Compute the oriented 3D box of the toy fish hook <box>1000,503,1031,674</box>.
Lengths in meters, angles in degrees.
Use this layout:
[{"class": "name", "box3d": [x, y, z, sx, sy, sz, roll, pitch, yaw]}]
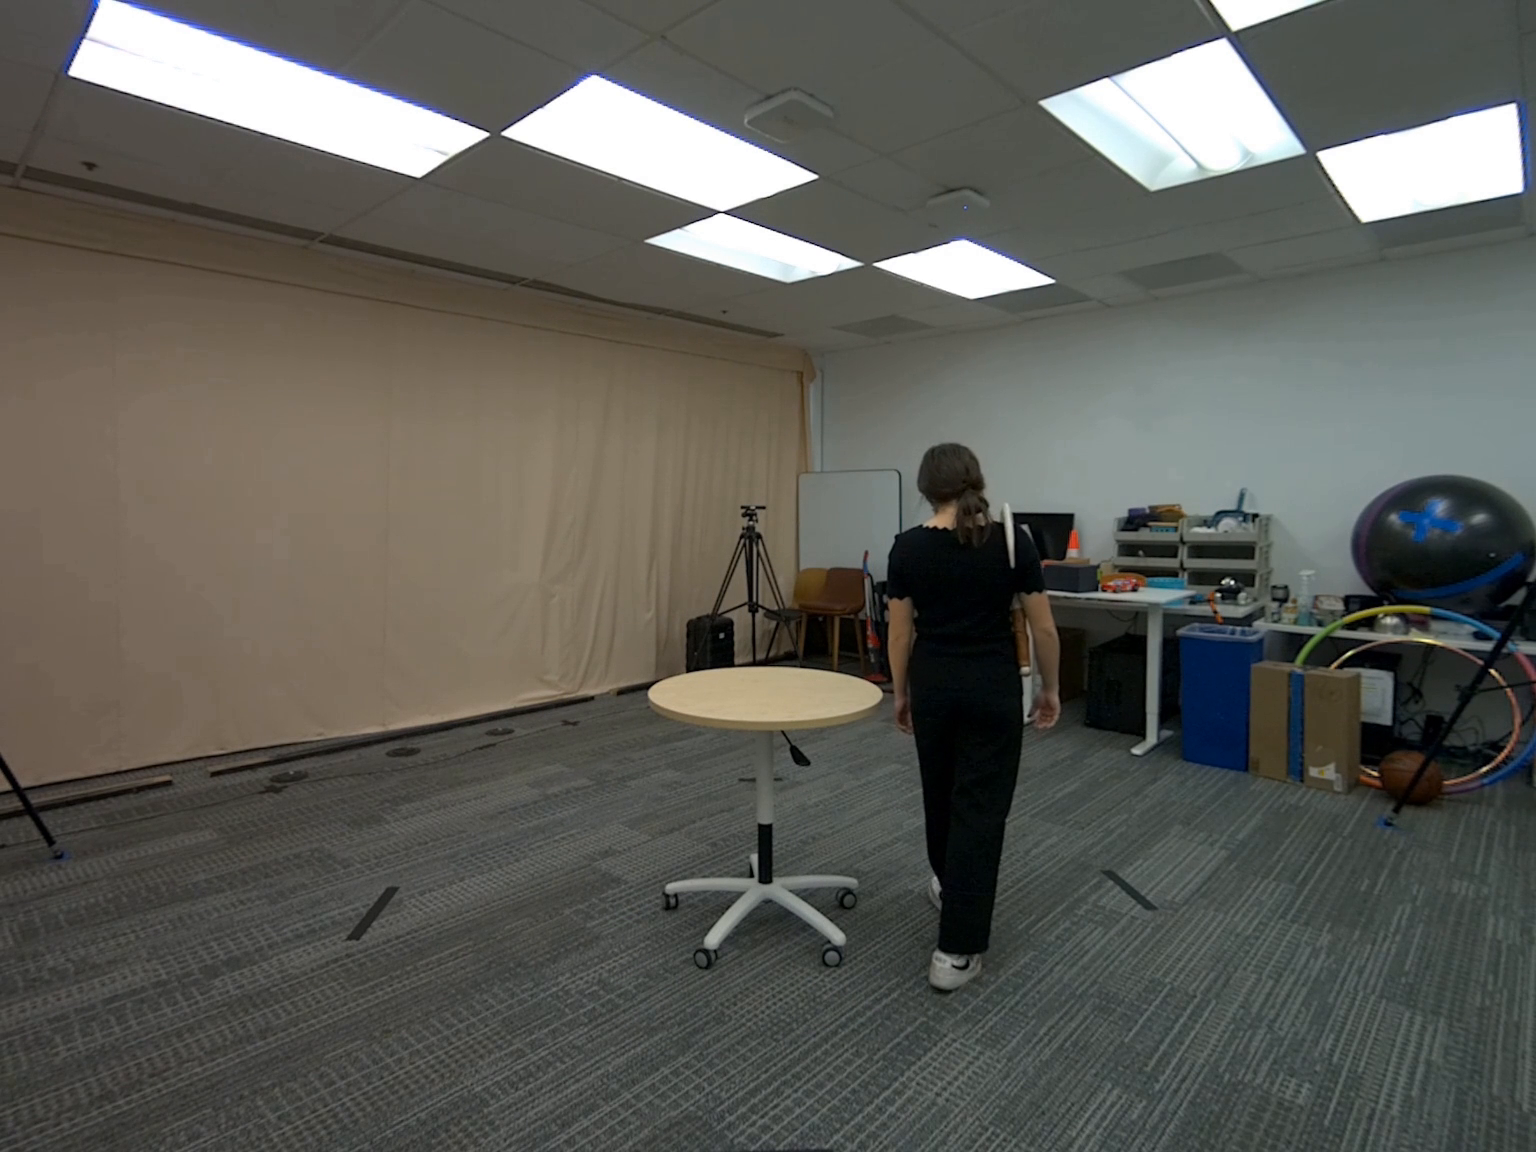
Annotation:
[{"class": "toy fish hook", "box3d": [0.734, 0.042, 2.479, 0.049, 0.508, 0.219, -8, -6, 22]}]
